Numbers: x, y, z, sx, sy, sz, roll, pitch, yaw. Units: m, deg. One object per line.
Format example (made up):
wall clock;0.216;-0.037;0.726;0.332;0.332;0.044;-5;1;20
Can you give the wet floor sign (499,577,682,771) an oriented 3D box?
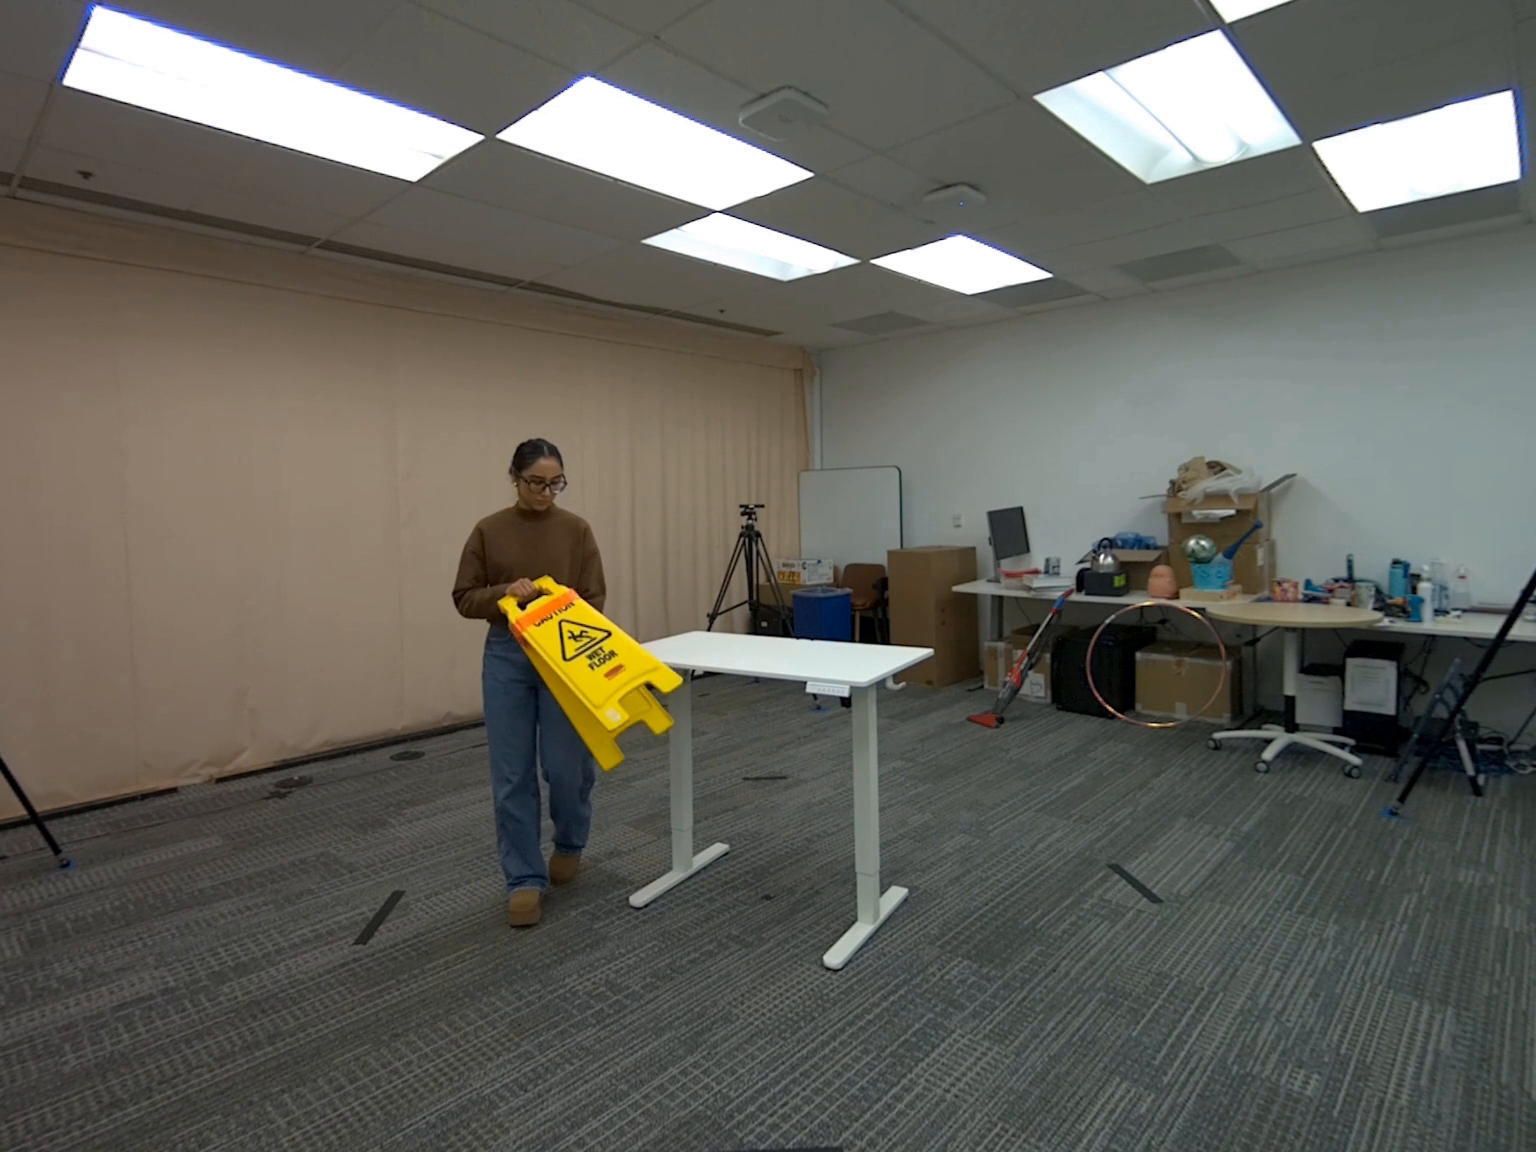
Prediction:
wet floor sign;-0.580;0.247;2.650;0.277;0.287;0.663;-31;63;-34
